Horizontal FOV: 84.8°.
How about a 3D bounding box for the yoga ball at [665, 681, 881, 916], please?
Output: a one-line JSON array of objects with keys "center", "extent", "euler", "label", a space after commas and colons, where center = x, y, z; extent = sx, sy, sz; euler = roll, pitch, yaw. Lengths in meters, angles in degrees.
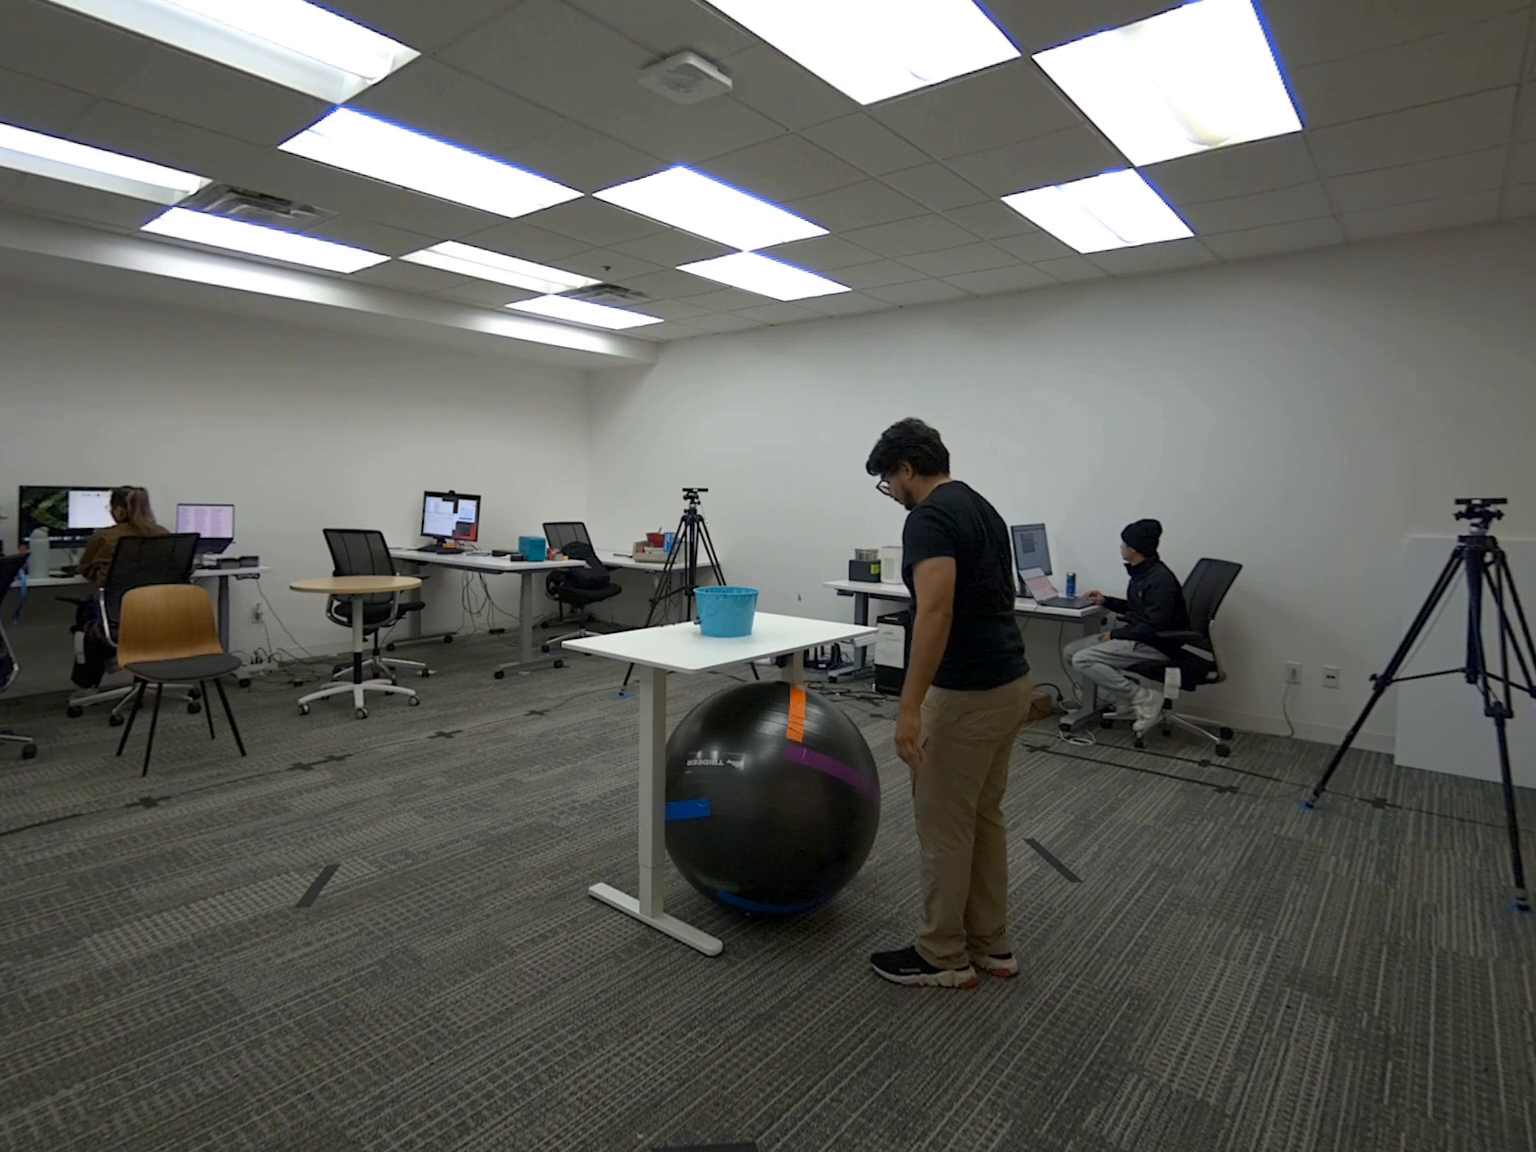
[{"center": [-0.006, 0.743, 2.850], "extent": [0.757, 0.755, 0.762], "euler": [1, 4, -2], "label": "yoga ball"}]
